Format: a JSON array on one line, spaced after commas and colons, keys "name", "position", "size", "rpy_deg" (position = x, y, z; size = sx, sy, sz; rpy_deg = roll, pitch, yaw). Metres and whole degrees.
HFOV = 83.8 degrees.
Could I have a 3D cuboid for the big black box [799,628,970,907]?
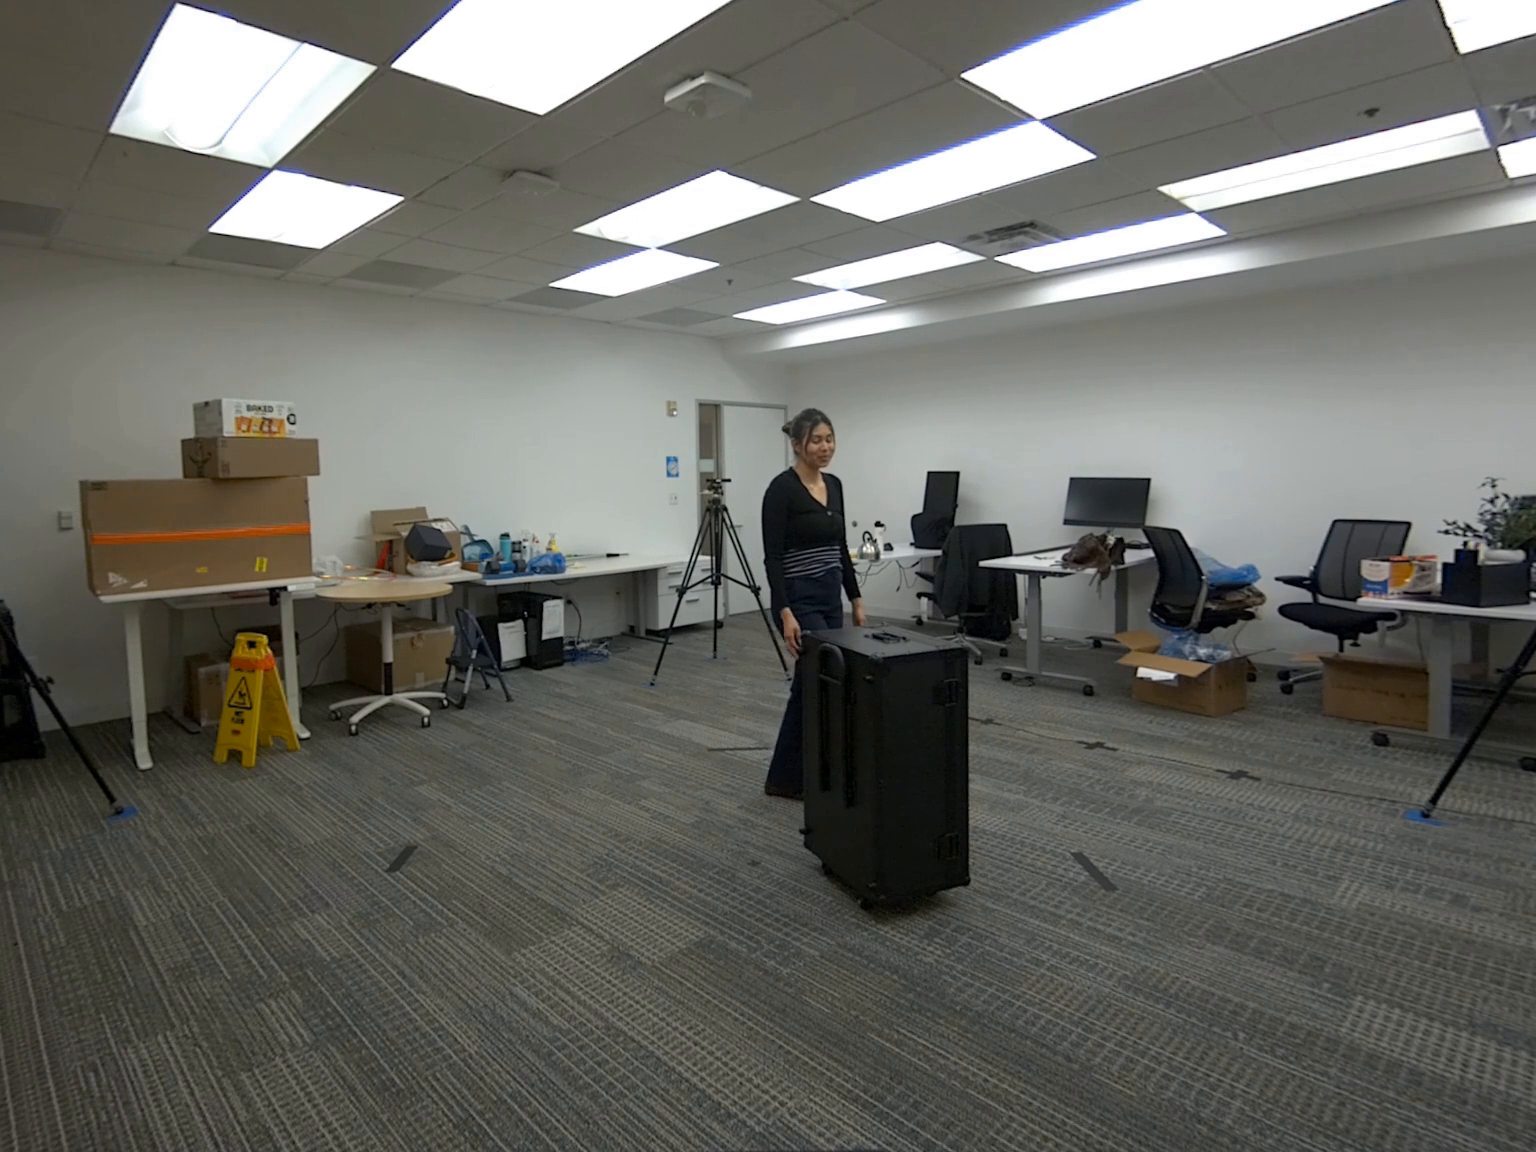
[{"name": "big black box", "position": [0.380, 0.638, 2.889], "size": [0.388, 0.858, 0.534], "rpy_deg": [-4, 5, -24]}]
